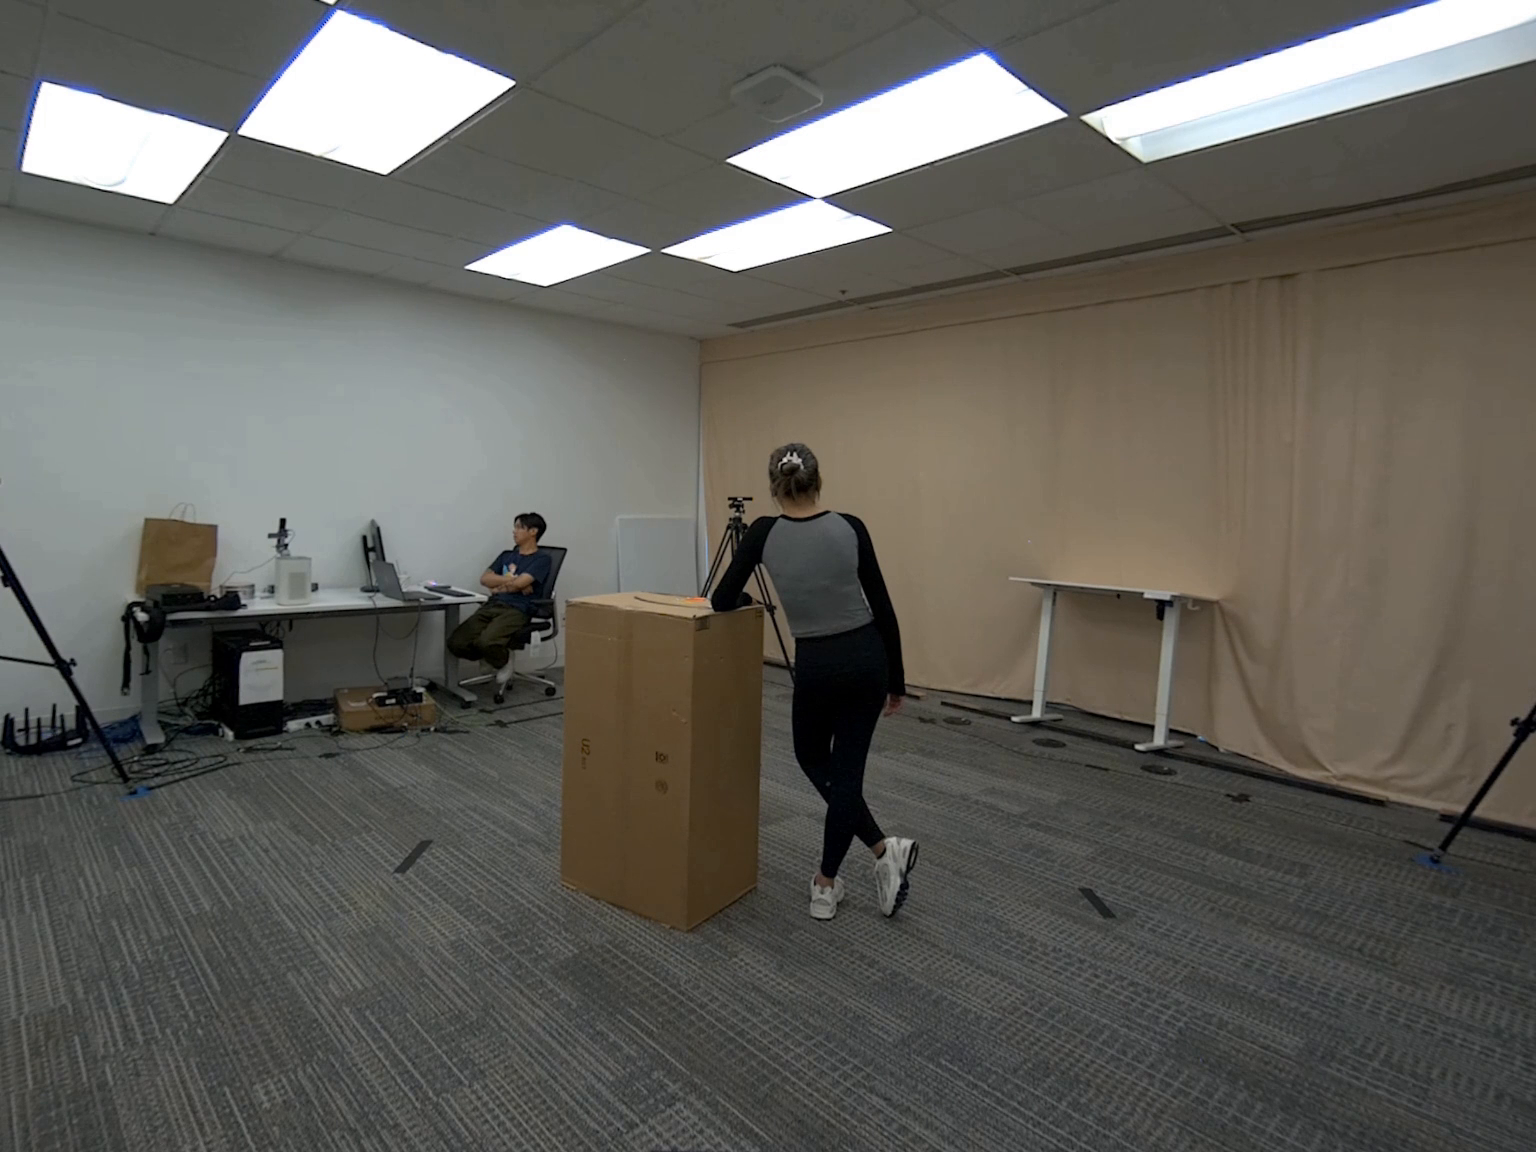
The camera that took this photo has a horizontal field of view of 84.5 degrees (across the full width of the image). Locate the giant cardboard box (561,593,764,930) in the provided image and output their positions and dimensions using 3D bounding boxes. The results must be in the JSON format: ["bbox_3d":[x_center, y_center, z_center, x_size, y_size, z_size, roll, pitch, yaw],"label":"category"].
[{"bbox_3d":[-0.383,0.604,2.998,0.591,1.023,0.417,4,4,34],"label":"giant cardboard box"}]
